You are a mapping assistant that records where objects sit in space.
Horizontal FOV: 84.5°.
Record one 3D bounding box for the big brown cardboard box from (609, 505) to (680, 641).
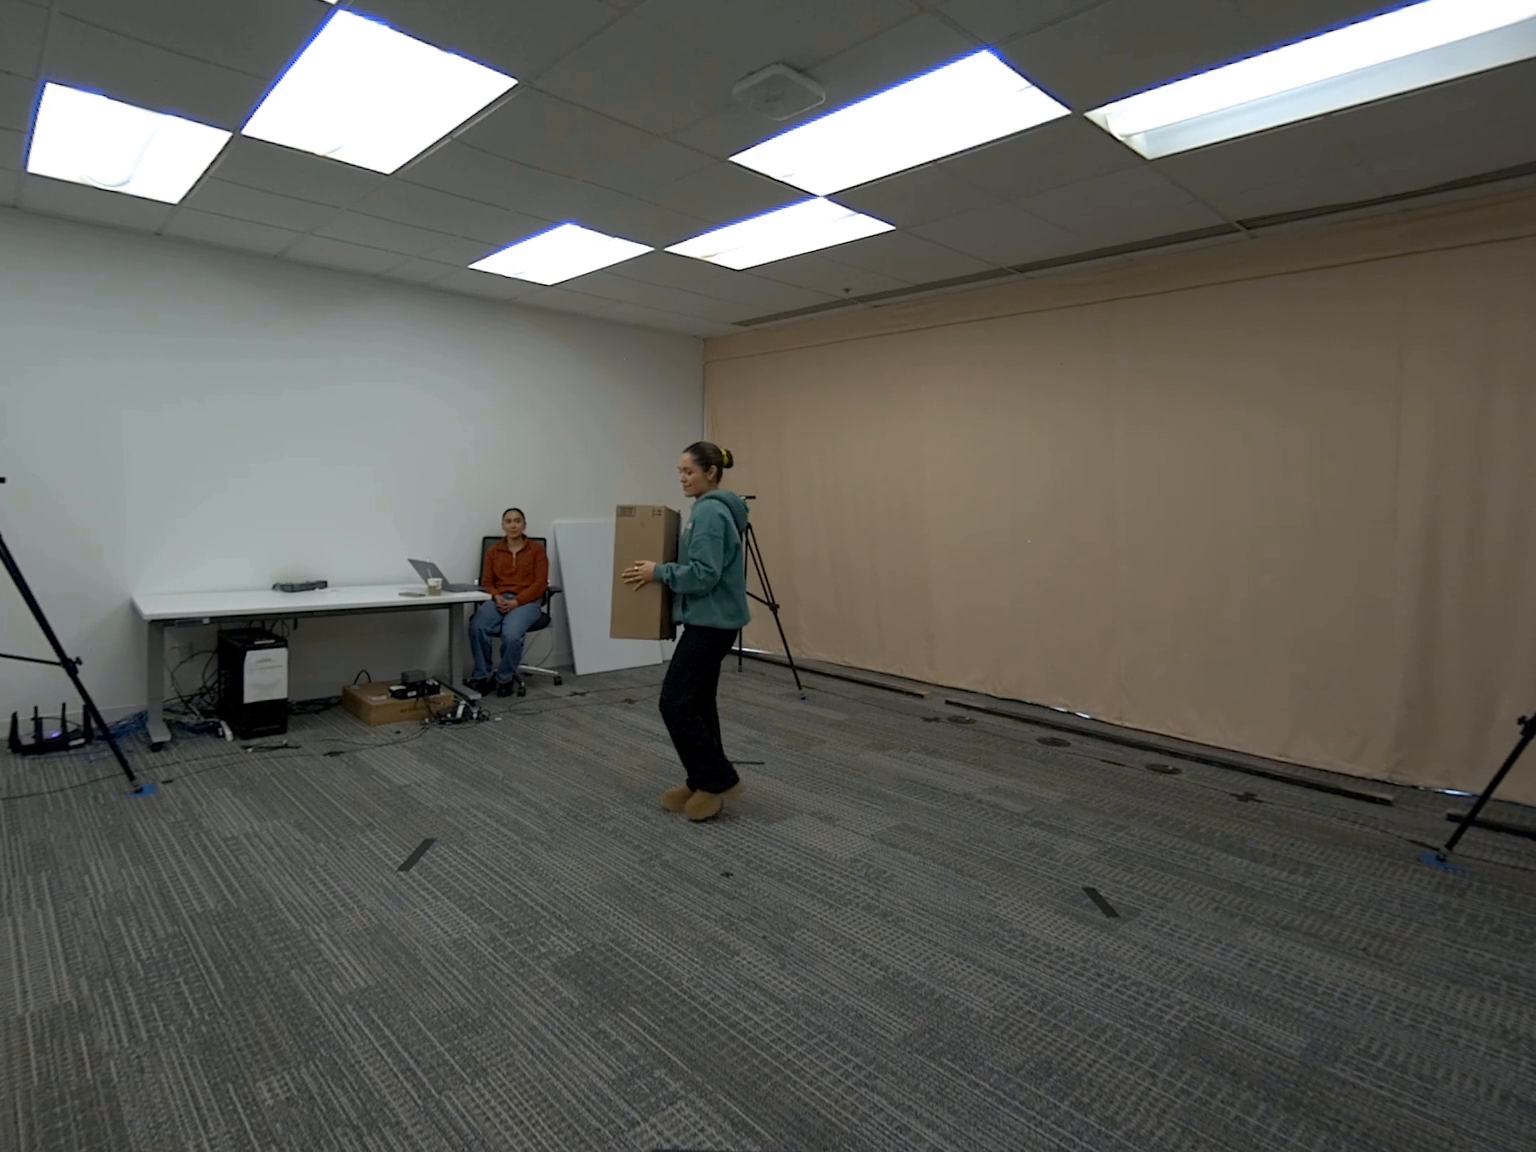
[{"bbox_3d":[-0.535,0.000,3.728,0.234,0.591,0.414,1,-4,5],"label":"big brown cardboard box"}]
